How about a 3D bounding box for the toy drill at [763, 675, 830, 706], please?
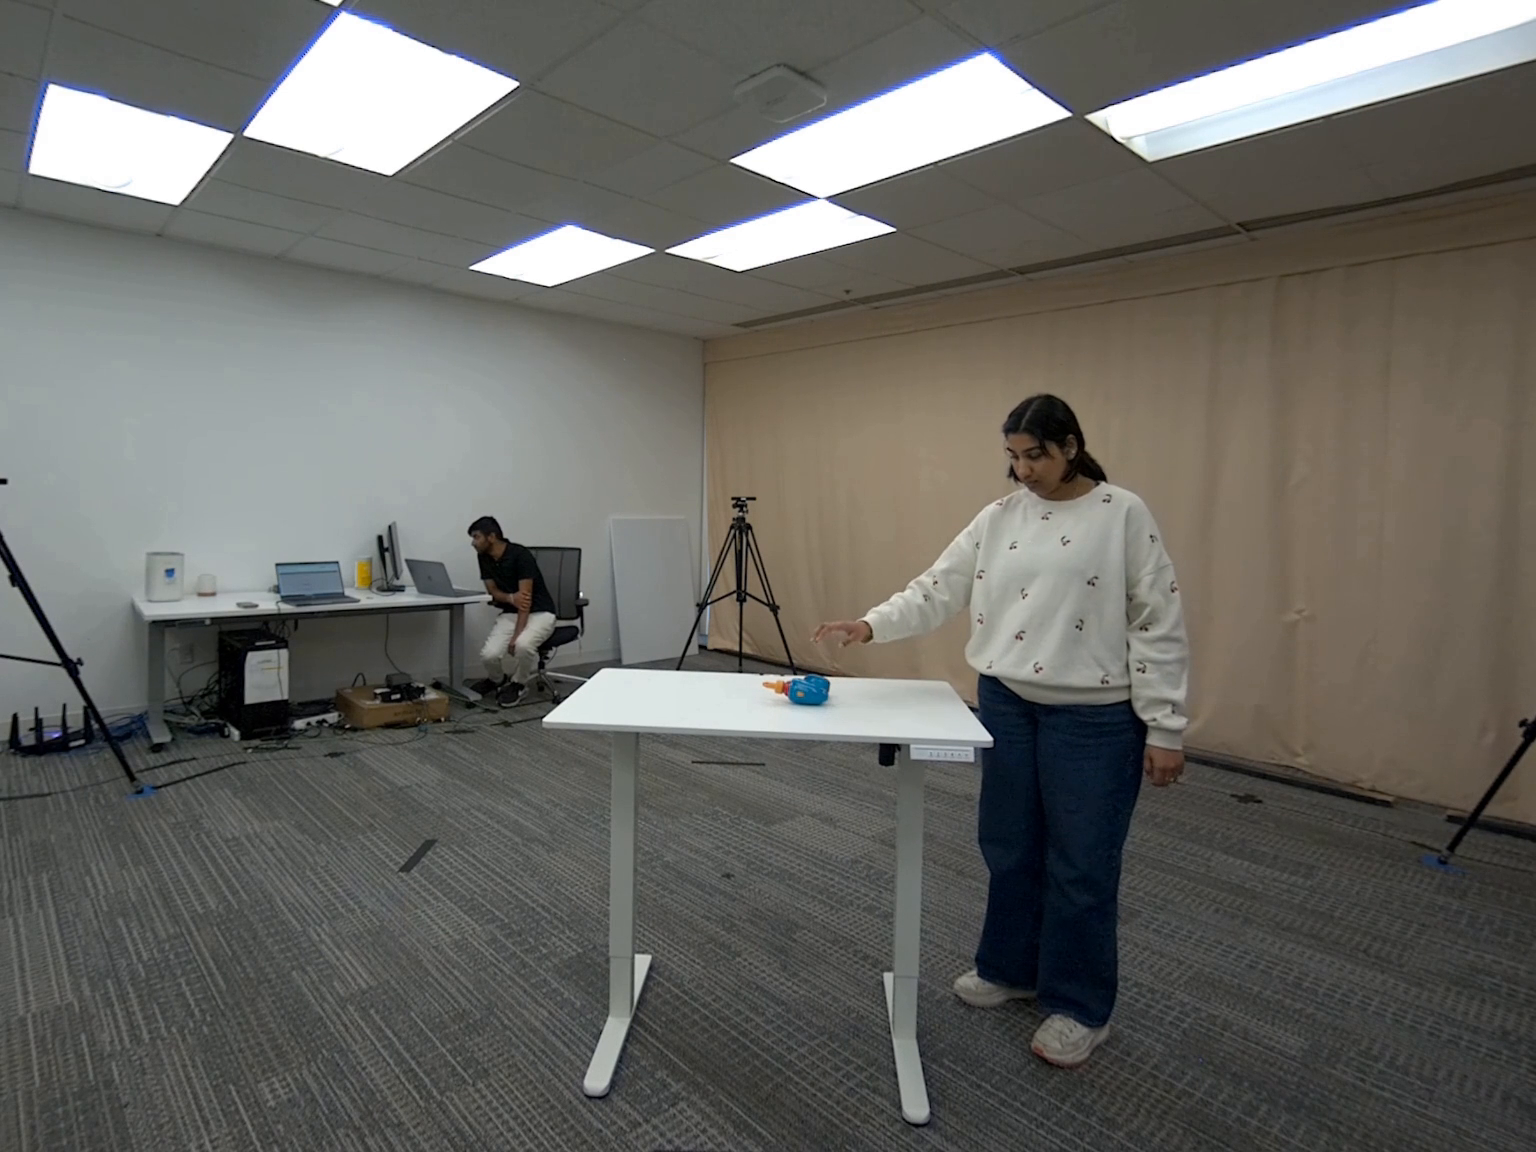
[{"bbox_3d":[0.064,0.281,2.162,0.172,0.061,0.145,7,6,12],"label":"toy drill"}]
